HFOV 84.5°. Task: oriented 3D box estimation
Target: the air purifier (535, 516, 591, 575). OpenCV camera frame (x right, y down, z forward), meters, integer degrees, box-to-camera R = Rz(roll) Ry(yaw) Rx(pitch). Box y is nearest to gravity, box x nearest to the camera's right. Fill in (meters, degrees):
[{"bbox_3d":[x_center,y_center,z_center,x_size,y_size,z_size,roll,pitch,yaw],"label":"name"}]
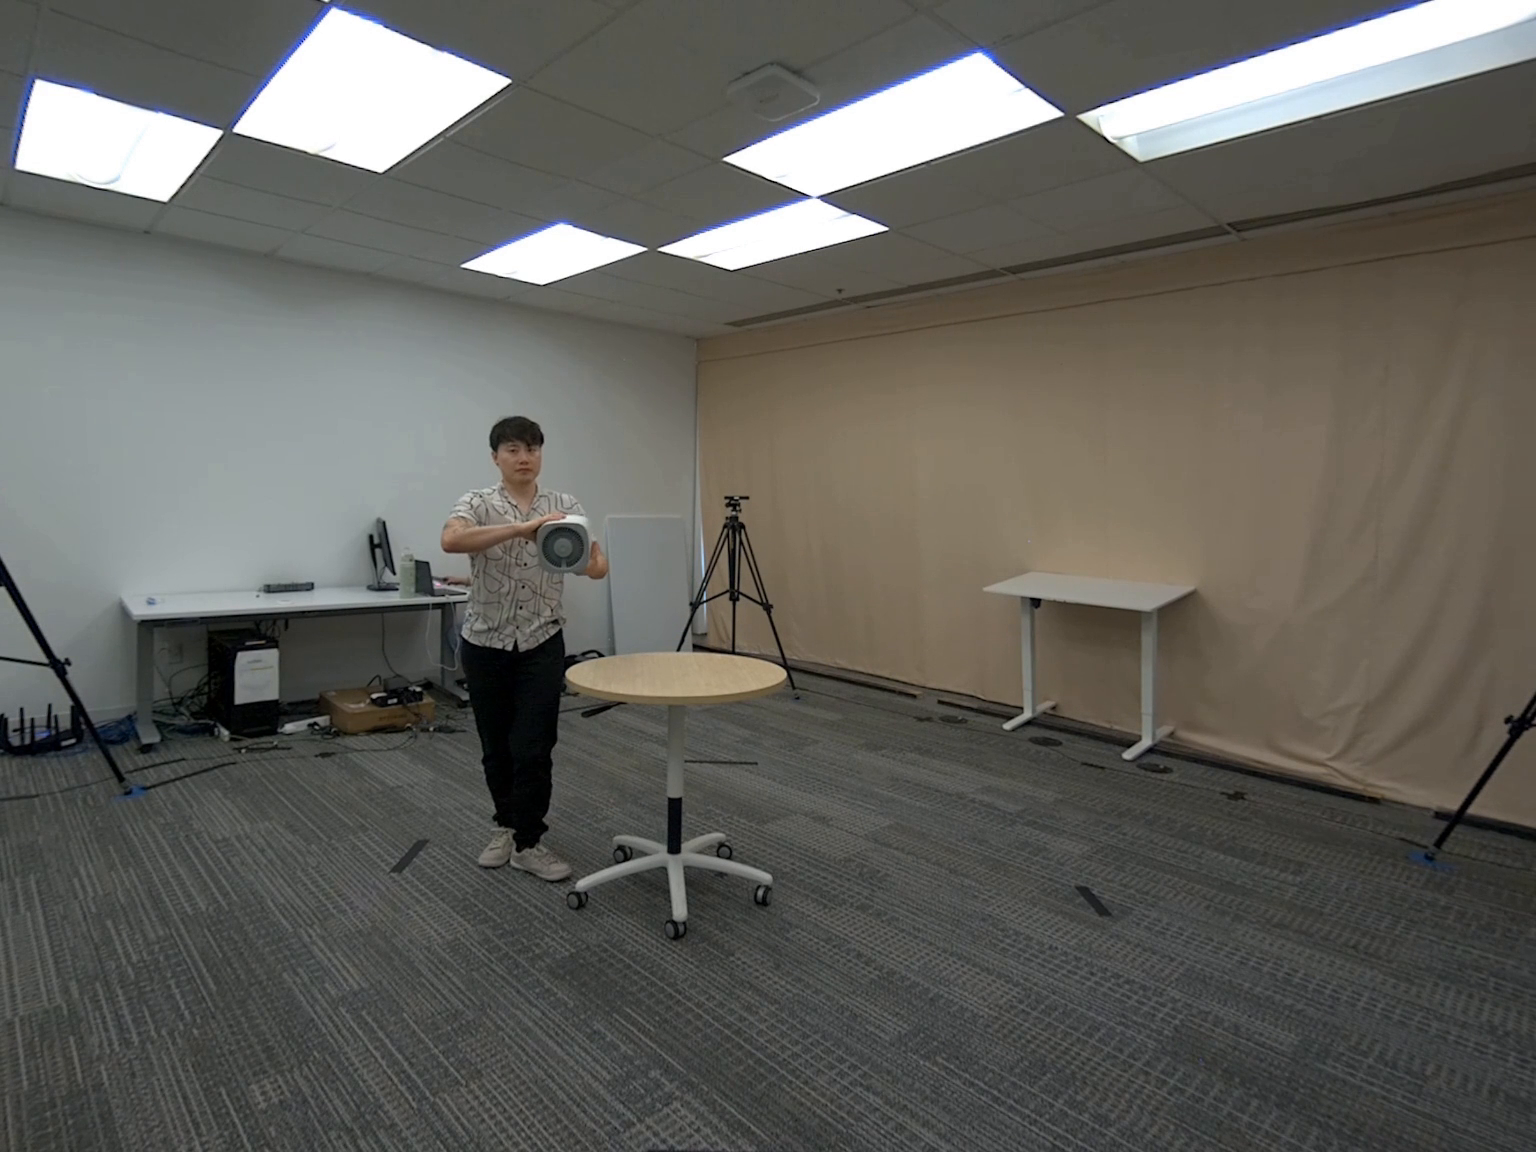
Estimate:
[{"bbox_3d":[-0.714,-0.121,2.911,0.170,0.170,0.269,-2,10,-9],"label":"air purifier"}]
